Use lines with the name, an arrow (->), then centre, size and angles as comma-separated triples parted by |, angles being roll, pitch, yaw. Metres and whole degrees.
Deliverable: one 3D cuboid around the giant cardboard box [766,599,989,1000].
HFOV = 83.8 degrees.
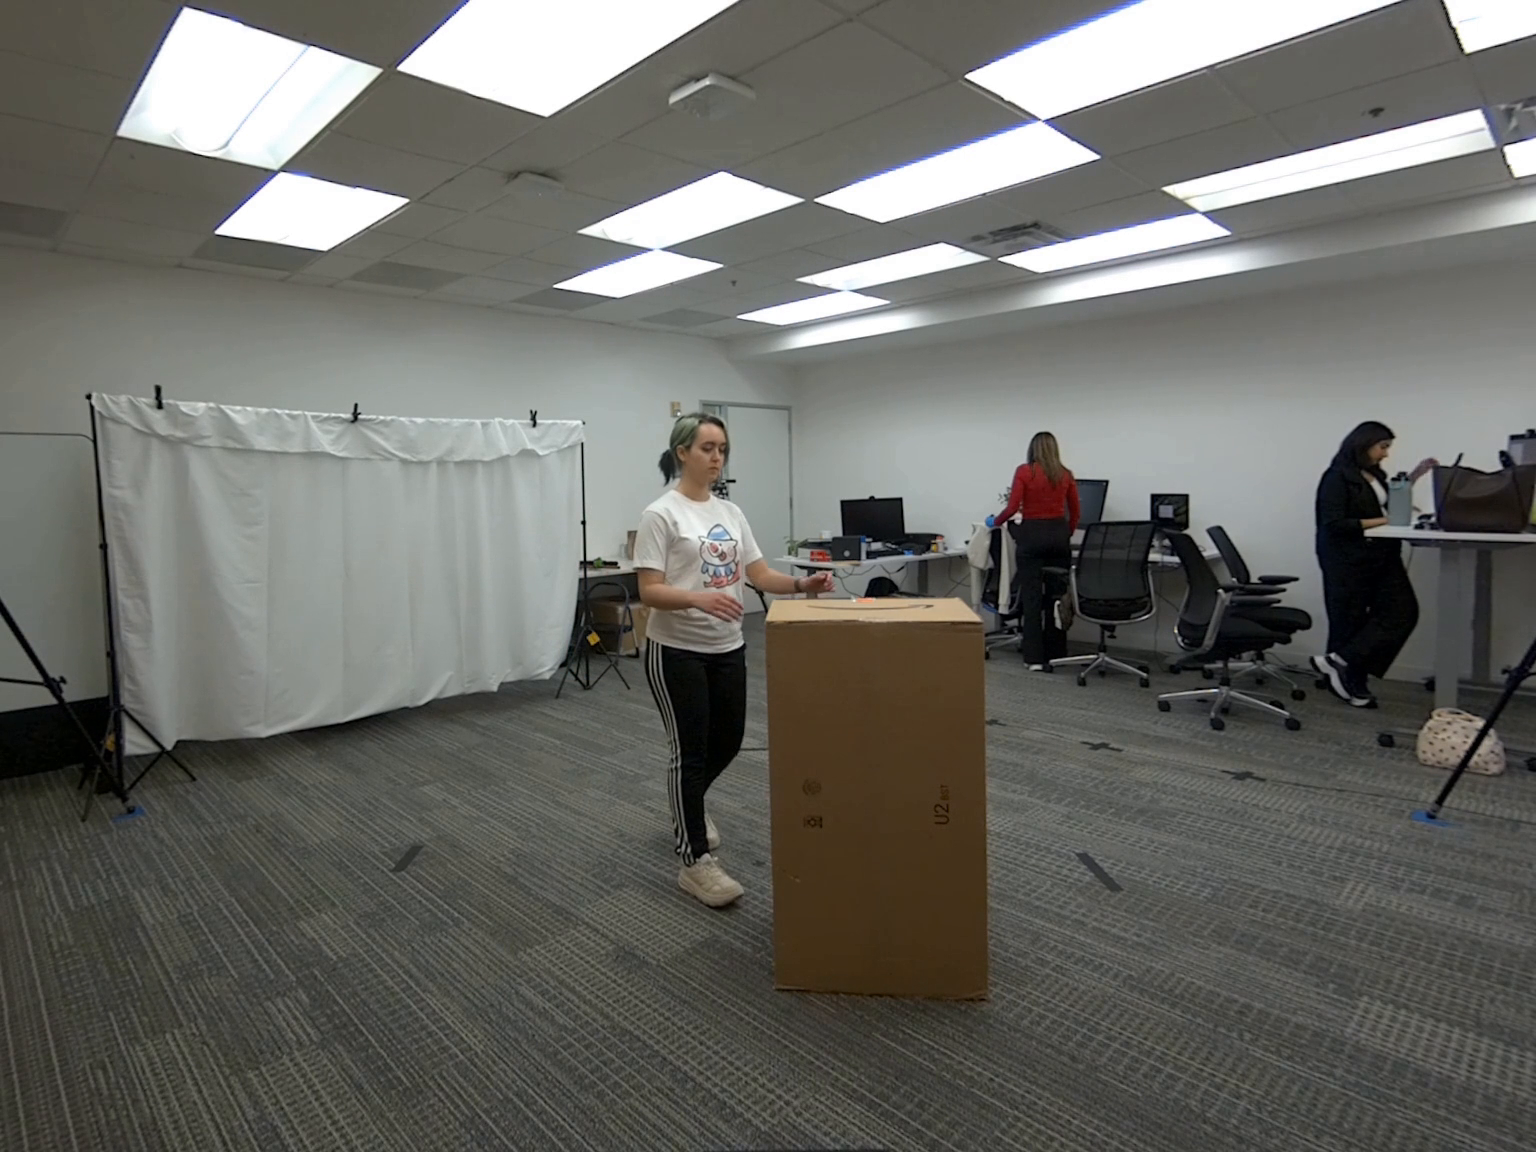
giant cardboard box -> 0.308, 0.605, 2.481 | 0.587, 1.023, 0.446 | -2, 4, 6
